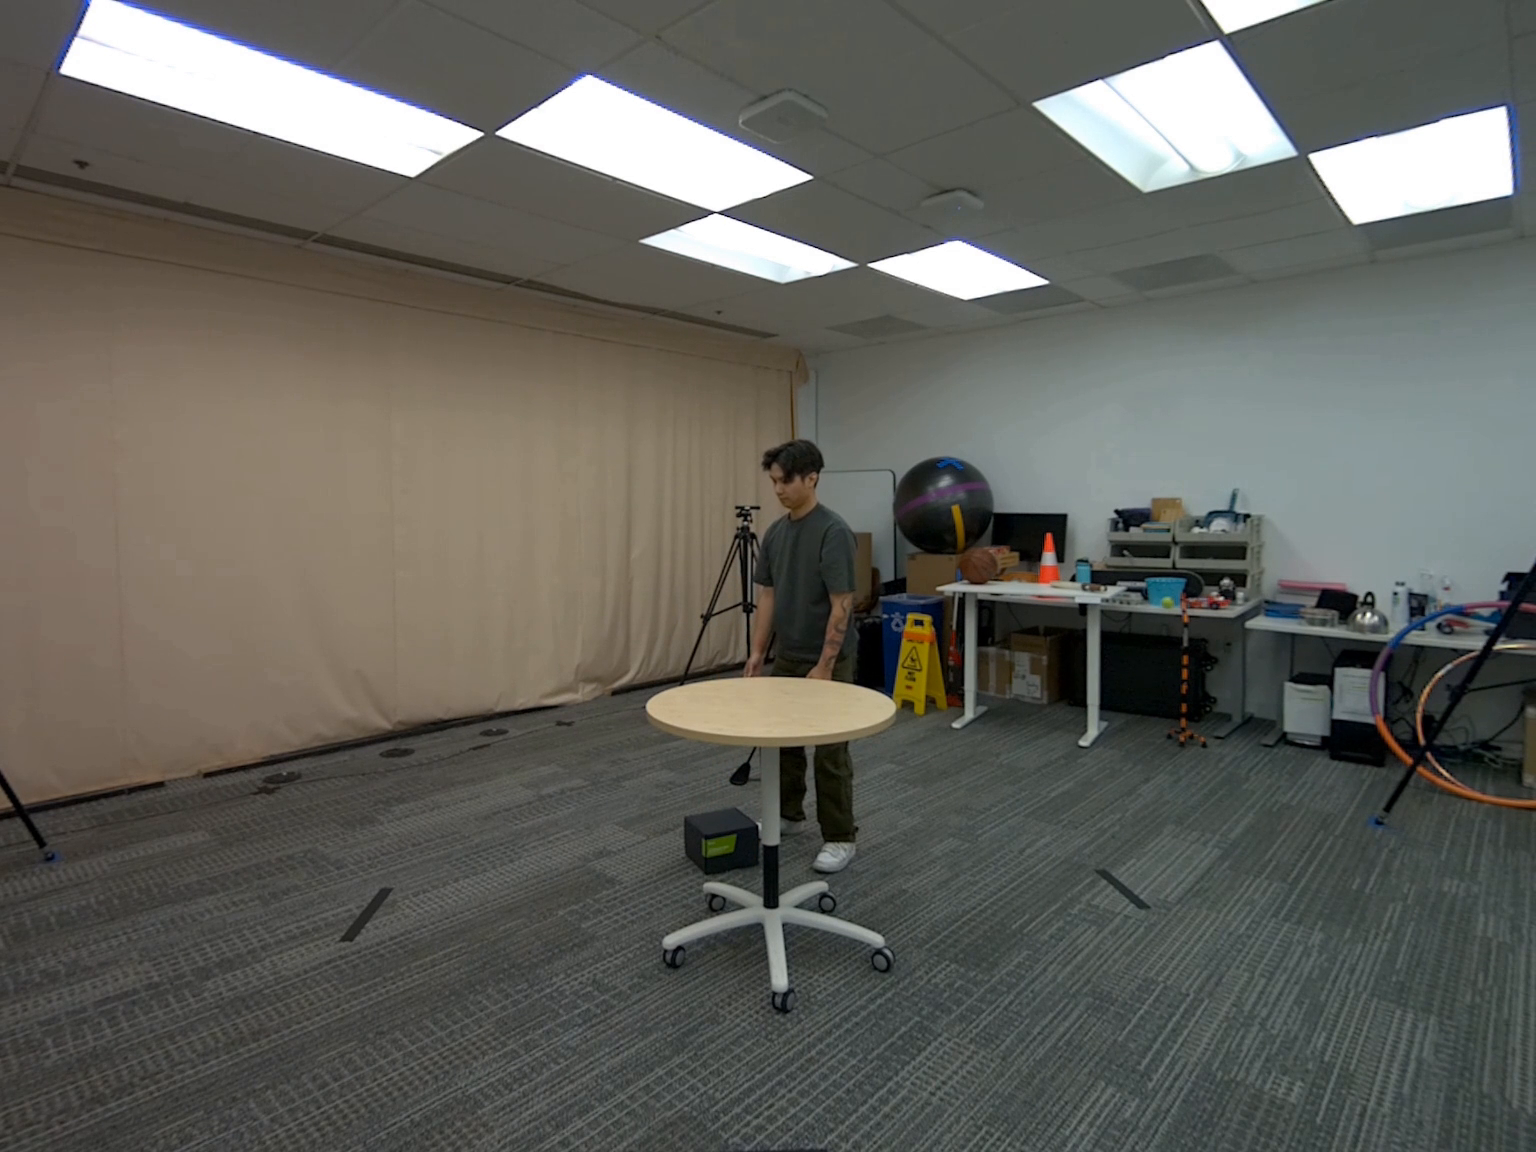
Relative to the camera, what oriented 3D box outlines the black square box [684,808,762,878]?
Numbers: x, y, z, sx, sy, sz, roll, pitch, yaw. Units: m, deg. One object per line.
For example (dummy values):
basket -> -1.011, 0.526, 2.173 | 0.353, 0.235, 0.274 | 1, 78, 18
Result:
black square box -> -0.181, 1.035, 3.309 | 0.222, 0.155, 0.223 | -3, 5, -27
